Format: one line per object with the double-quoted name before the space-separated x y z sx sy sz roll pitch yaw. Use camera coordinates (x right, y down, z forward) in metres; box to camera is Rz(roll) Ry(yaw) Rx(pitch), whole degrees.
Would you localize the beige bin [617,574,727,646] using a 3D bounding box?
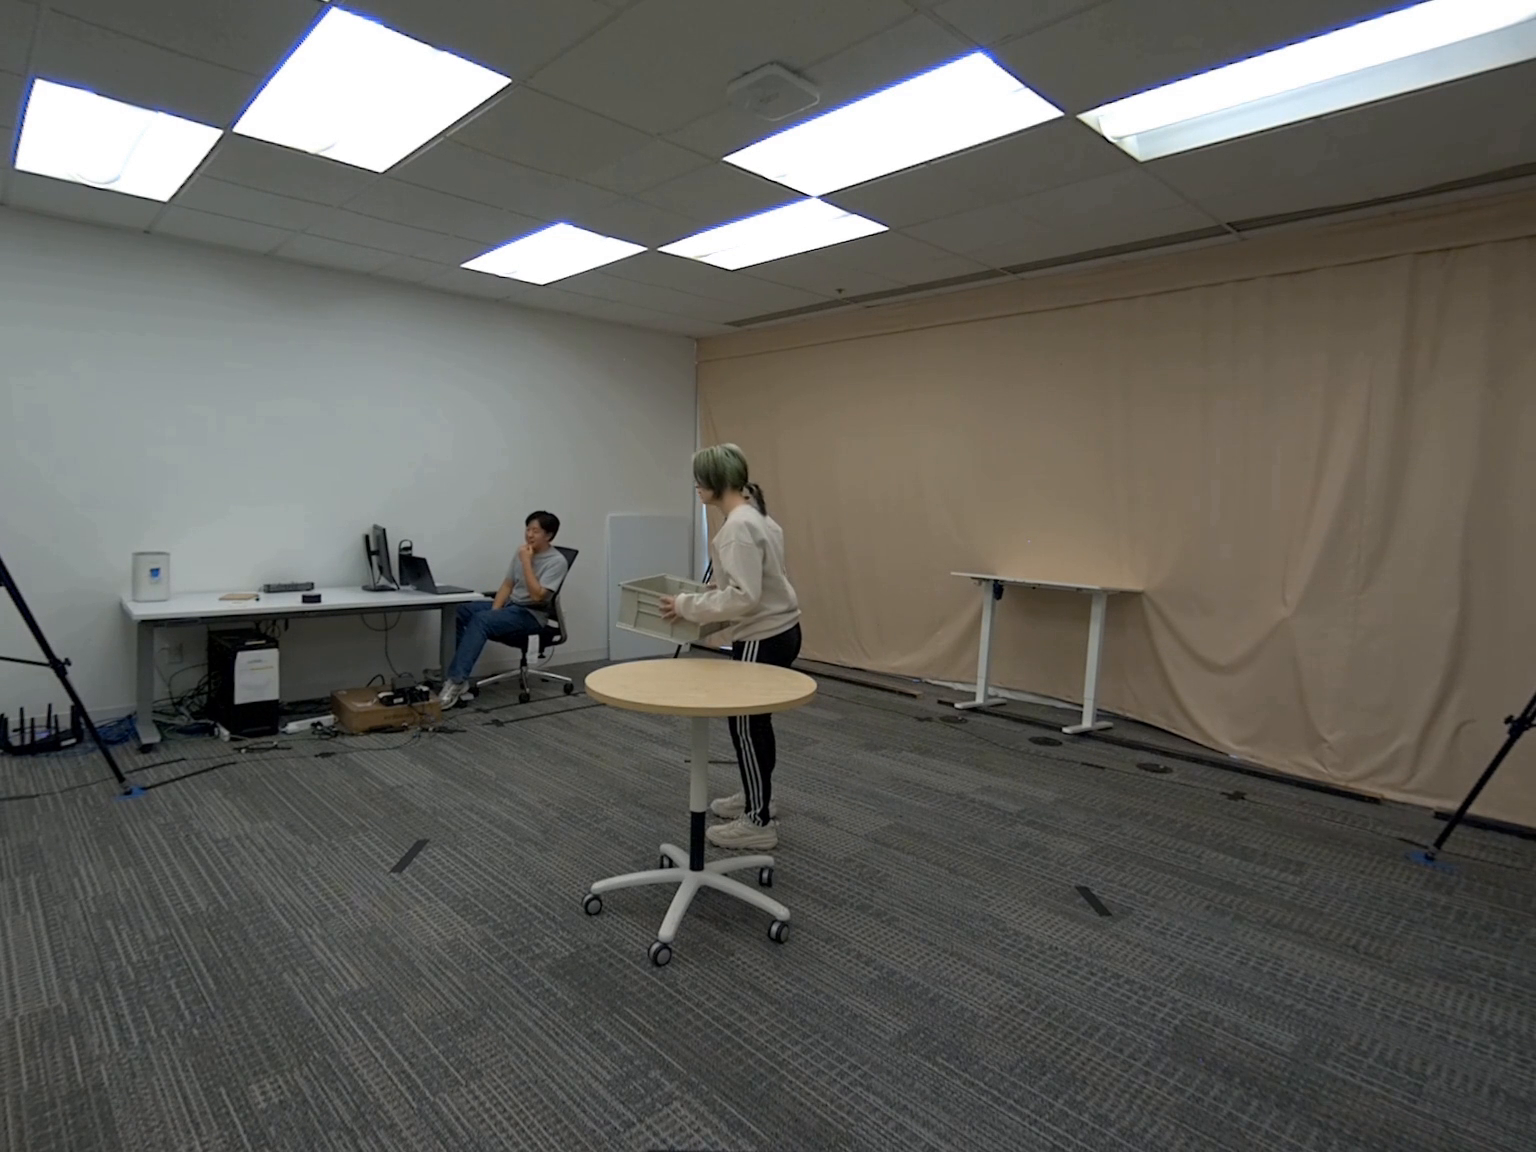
"beige bin" -0.375 0.143 3.513 0.383 0.188 0.417 11 9 18
